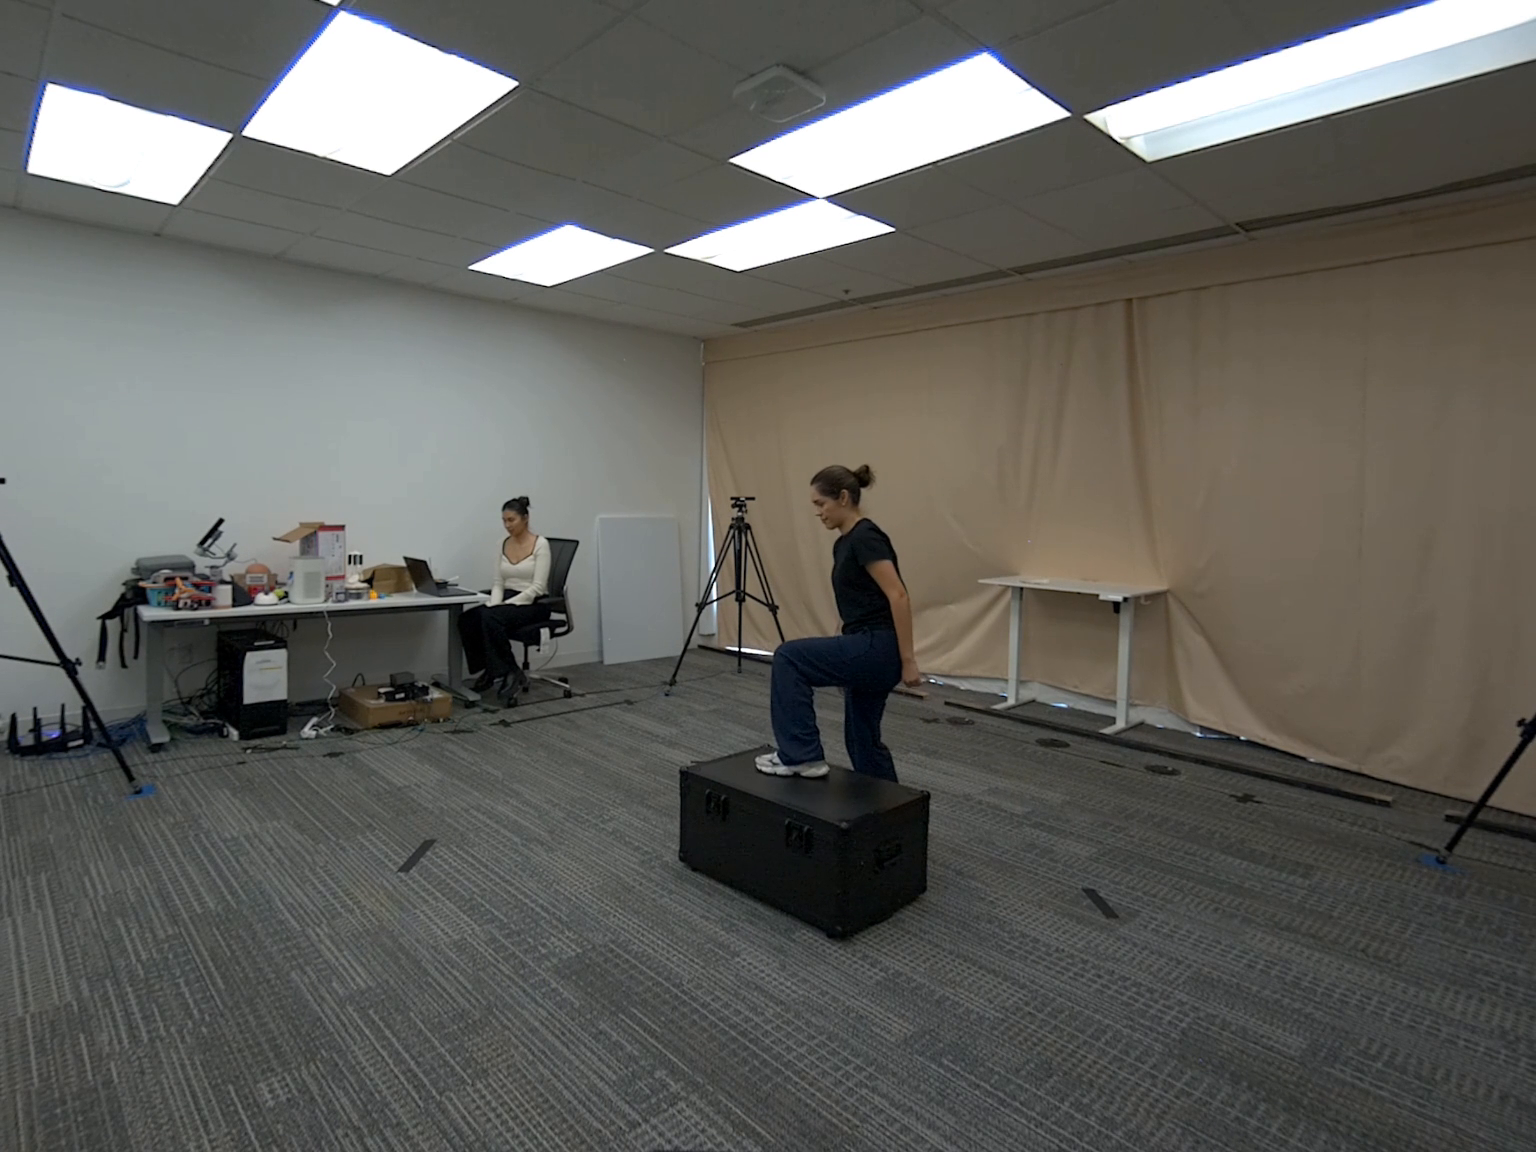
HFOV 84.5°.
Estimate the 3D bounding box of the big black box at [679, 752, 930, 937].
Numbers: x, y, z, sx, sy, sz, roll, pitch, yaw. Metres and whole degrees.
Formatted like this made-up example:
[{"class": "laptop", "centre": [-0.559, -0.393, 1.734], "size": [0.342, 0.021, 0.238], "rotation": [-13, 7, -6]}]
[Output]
[{"class": "big black box", "centre": [0.089, 0.926, 3.069], "size": [0.884, 0.395, 0.509], "rotation": [6, 6, 43]}]
